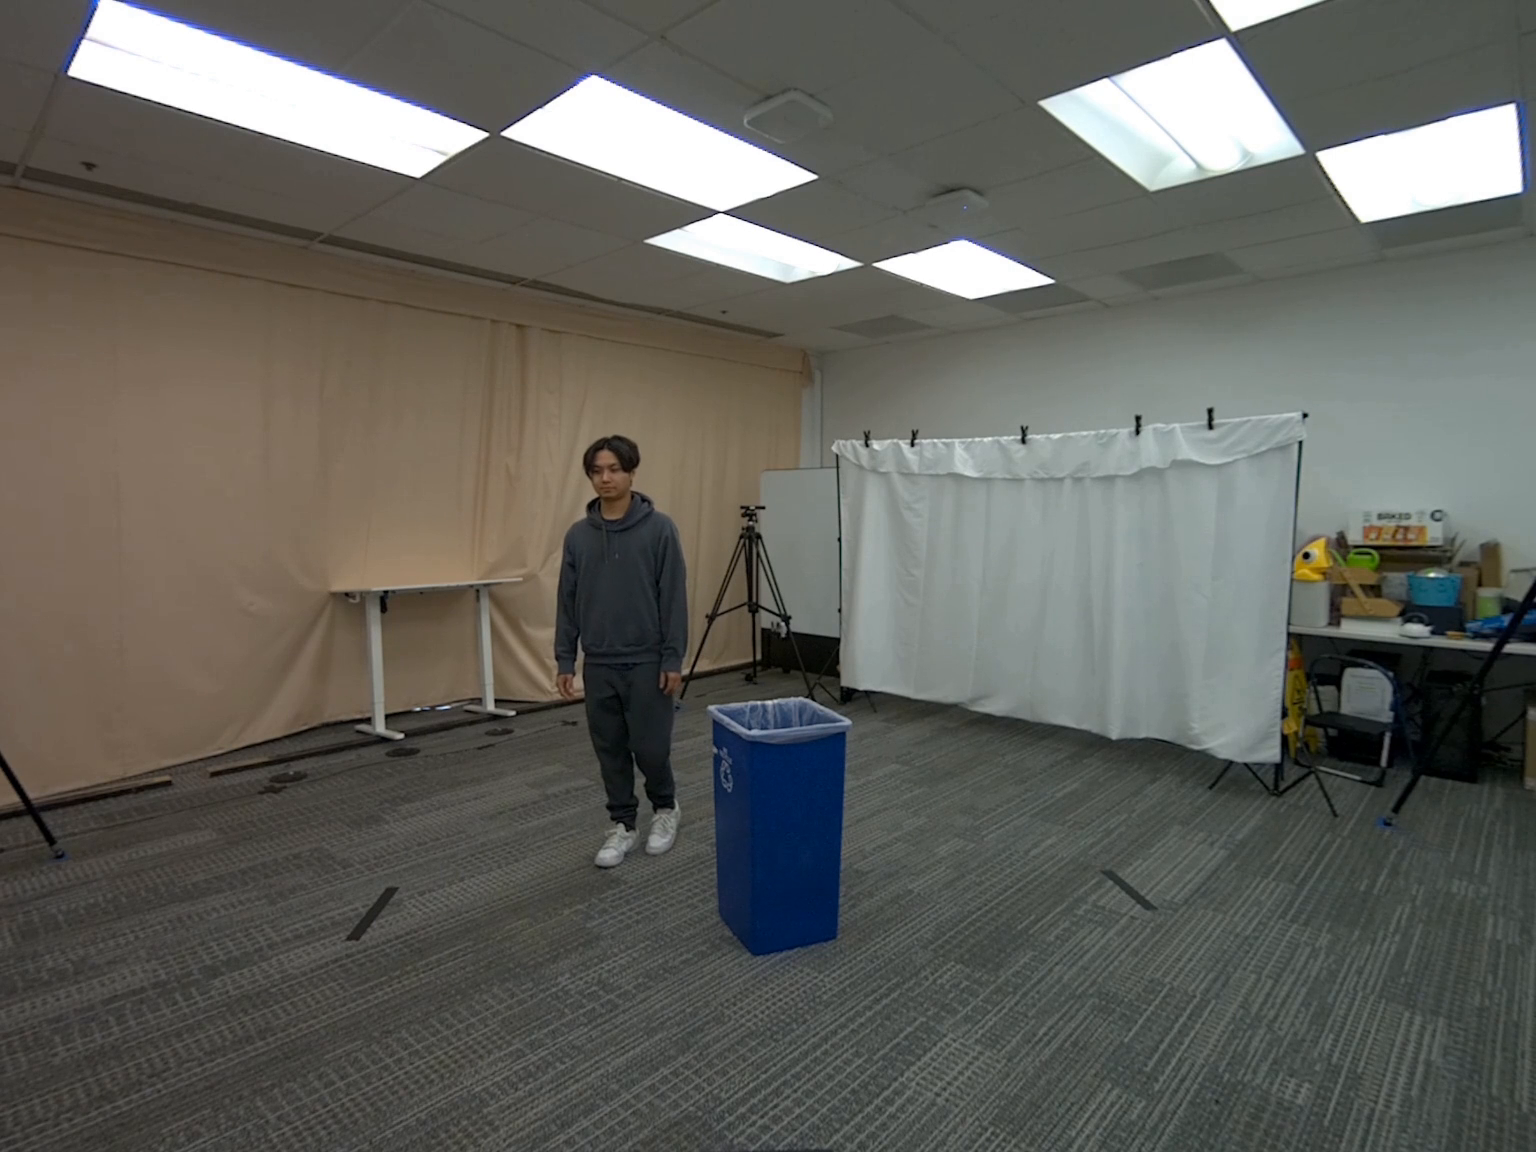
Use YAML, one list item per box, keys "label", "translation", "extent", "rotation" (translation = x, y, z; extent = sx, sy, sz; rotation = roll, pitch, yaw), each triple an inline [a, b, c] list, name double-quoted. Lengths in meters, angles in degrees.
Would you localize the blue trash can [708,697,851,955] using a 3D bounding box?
- label: "blue trash can"
  translation: [0.038, 0.804, 2.766]
  extent: [0.370, 0.712, 0.383]
  rotation: [-2, 3, -24]
